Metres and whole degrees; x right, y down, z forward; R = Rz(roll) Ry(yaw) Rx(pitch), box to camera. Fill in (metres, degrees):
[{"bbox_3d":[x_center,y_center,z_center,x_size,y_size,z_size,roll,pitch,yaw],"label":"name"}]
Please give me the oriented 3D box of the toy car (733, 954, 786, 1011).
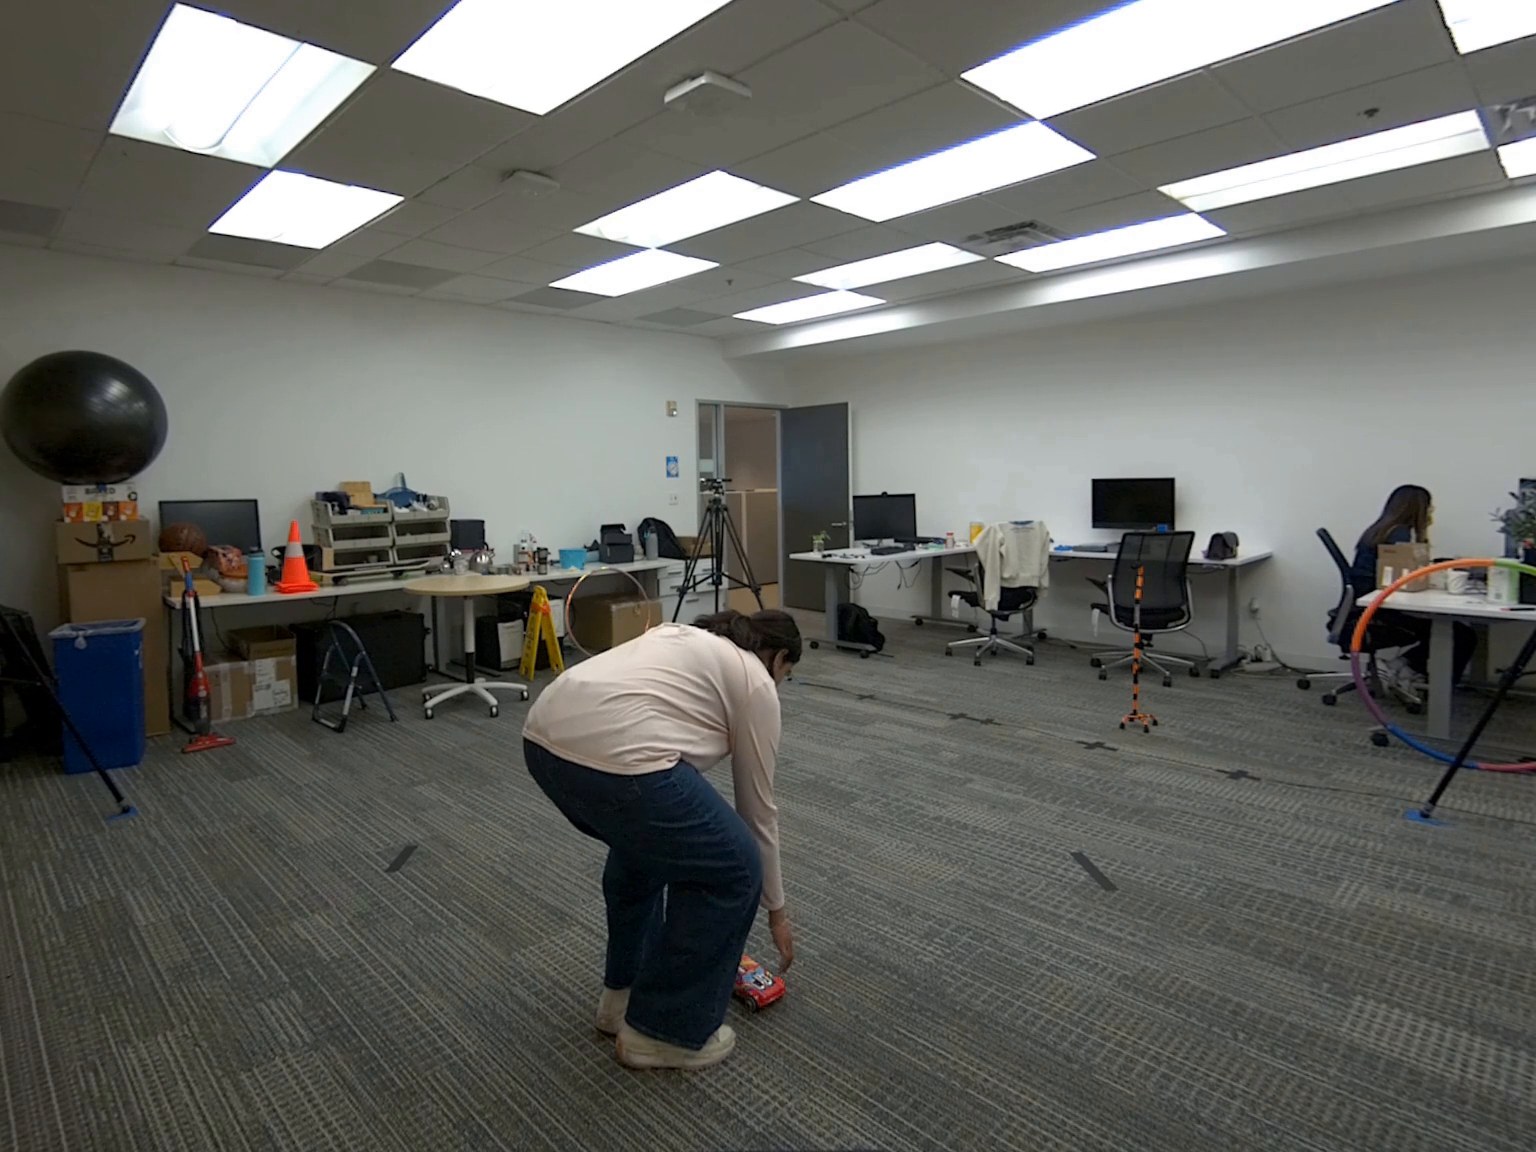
[{"bbox_3d":[-0.067,1.100,2.353,0.127,0.082,0.264,-7,19,-41],"label":"toy car"}]
